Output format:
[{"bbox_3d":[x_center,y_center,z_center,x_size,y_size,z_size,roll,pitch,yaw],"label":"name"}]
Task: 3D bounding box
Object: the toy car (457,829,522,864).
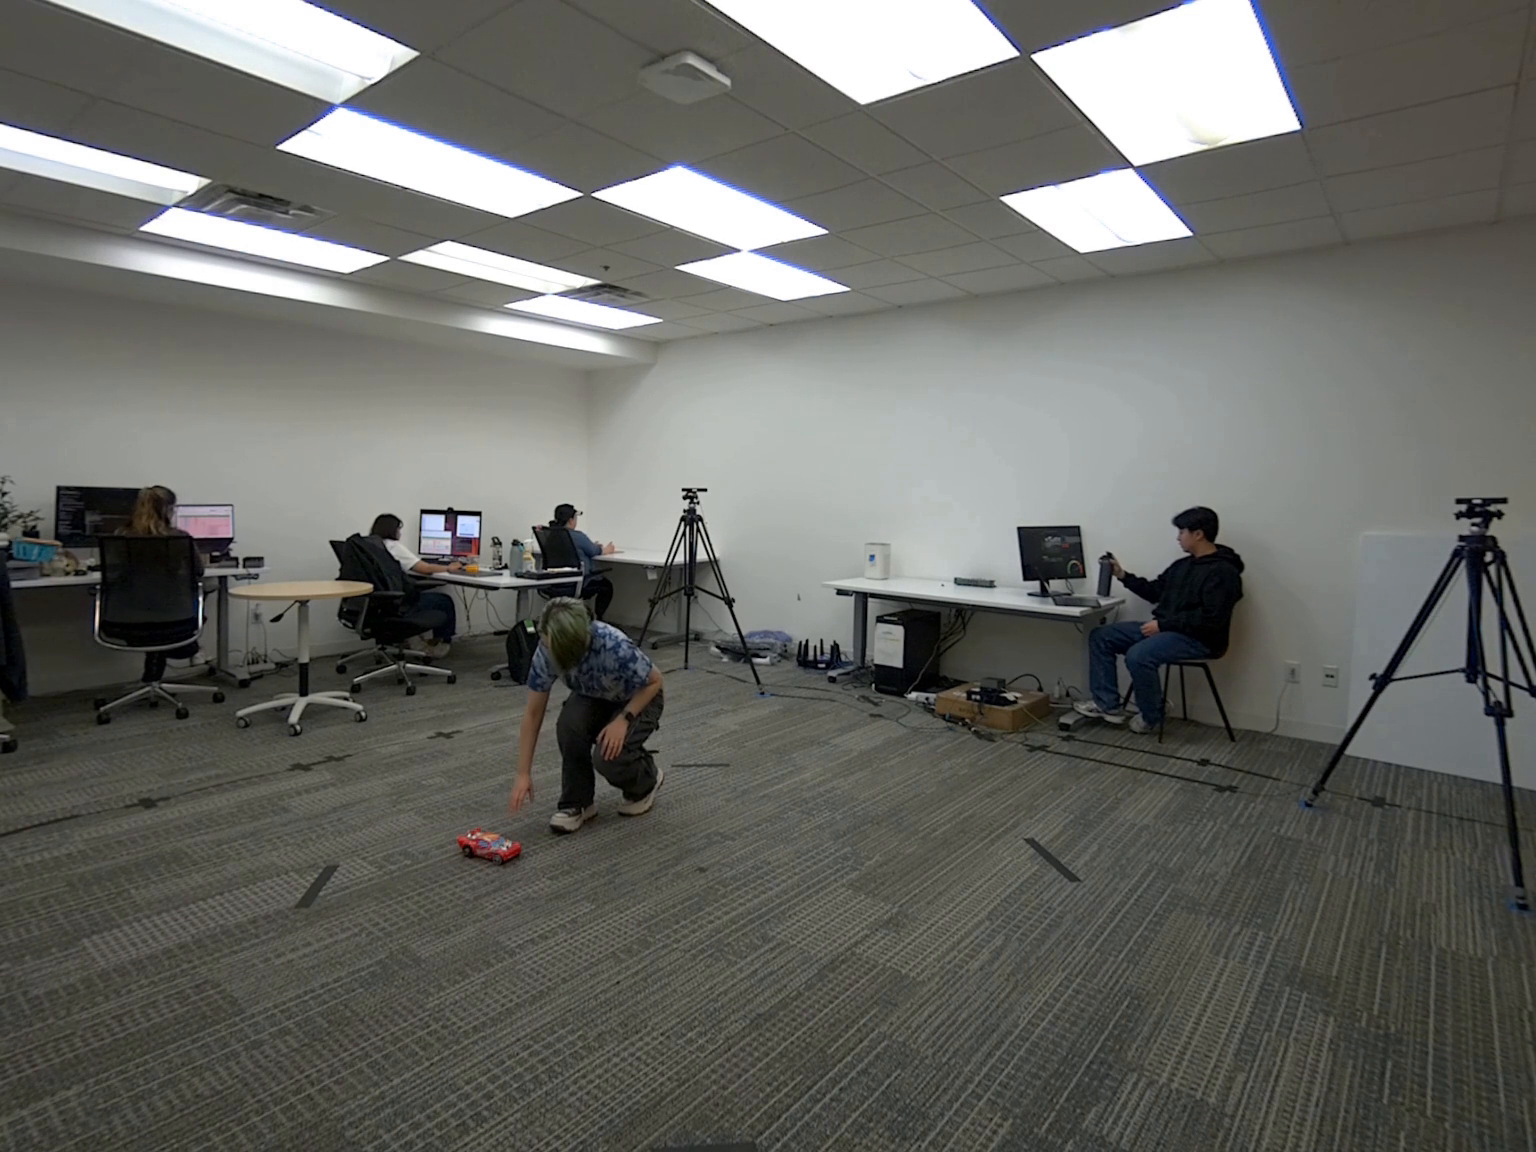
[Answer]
[{"bbox_3d":[-1.072,1.019,3.196,0.262,0.083,0.127,14,10,26],"label":"toy car"}]
